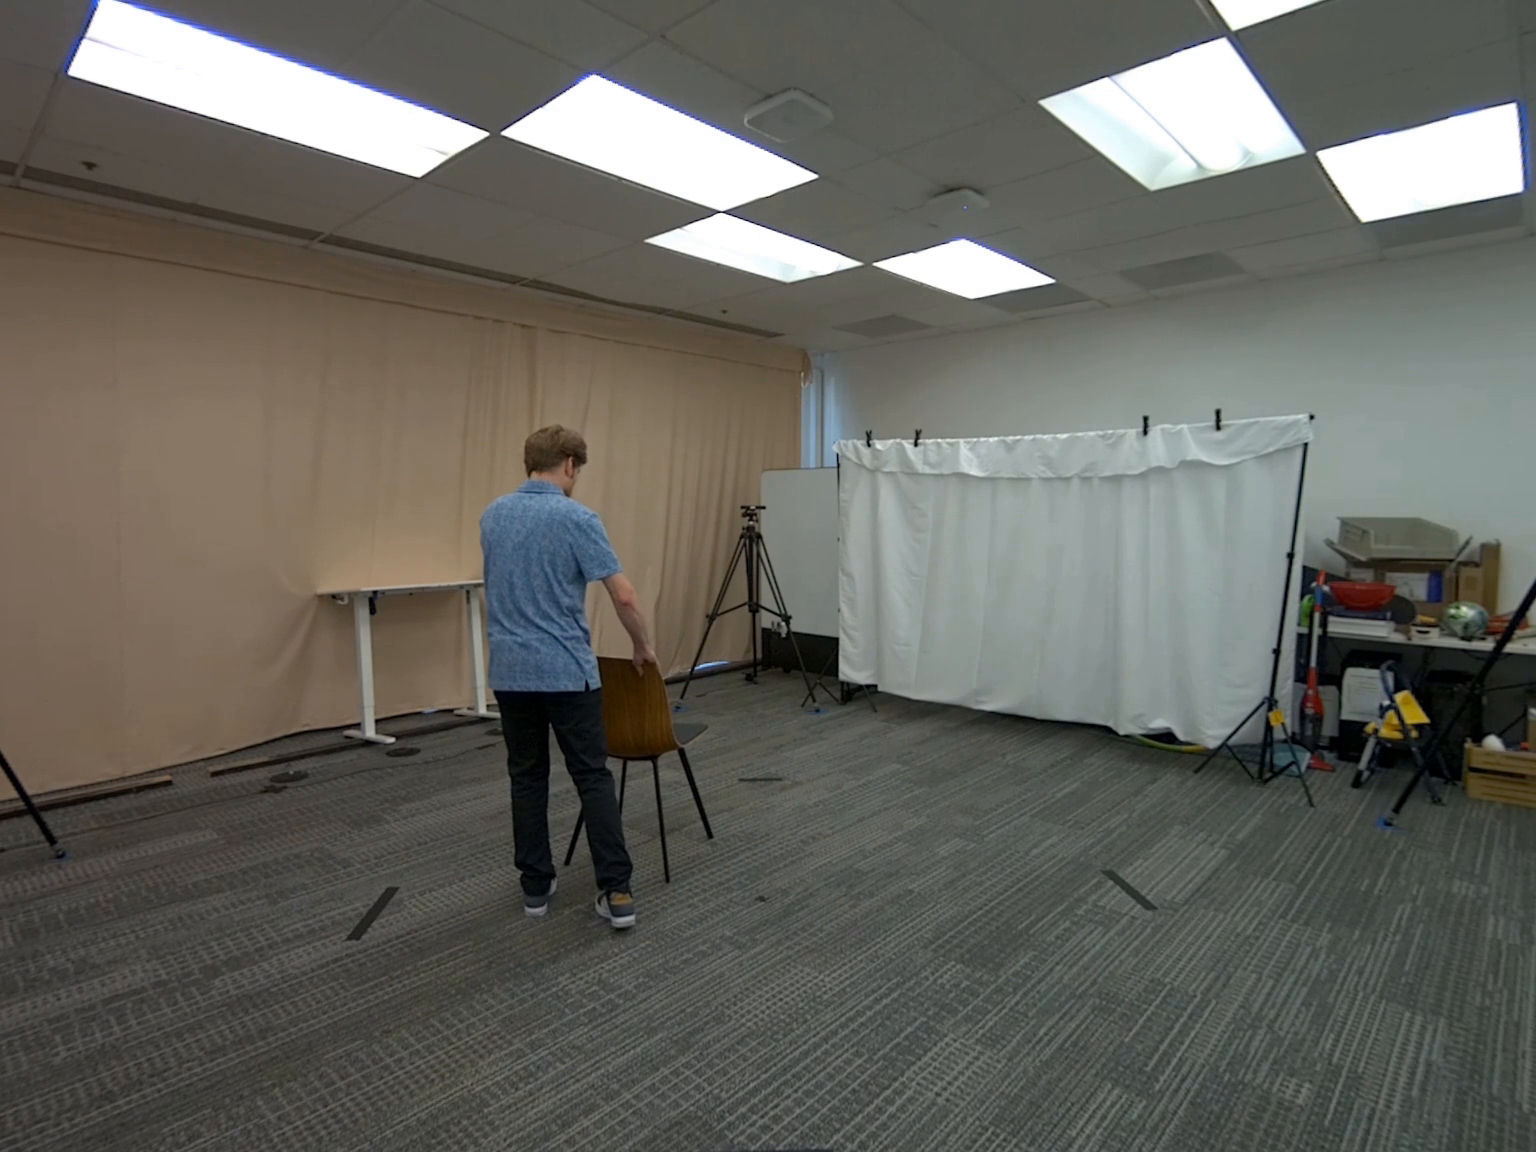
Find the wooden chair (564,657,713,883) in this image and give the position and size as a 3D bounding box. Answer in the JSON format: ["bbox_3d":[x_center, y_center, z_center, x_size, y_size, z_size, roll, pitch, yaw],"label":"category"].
[{"bbox_3d":[-0.511,0.685,3.380,0.488,0.873,0.514,0,8,20],"label":"wooden chair"}]
